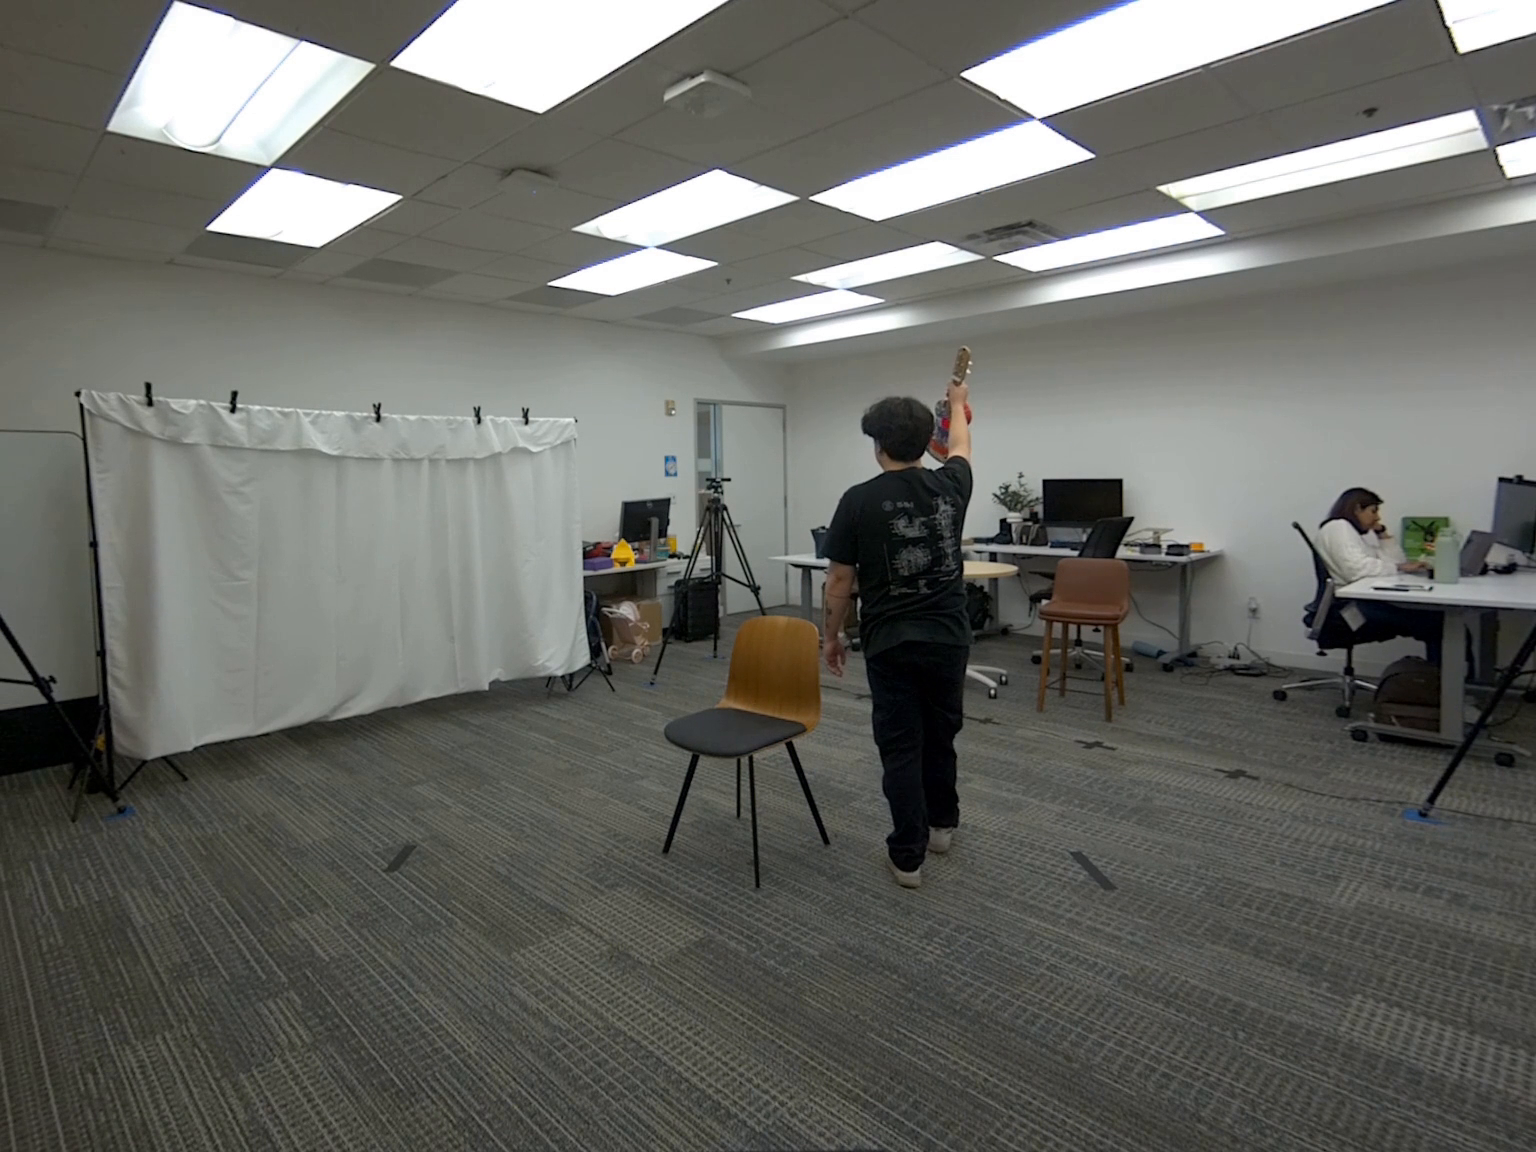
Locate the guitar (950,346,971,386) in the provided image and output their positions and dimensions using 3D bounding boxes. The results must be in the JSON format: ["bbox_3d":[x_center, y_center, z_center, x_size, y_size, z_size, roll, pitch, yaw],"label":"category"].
[{"bbox_3d":[0.760,-0.661,3.399,0.069,0.488,0.200,-17,53,-29],"label":"guitar"}]
